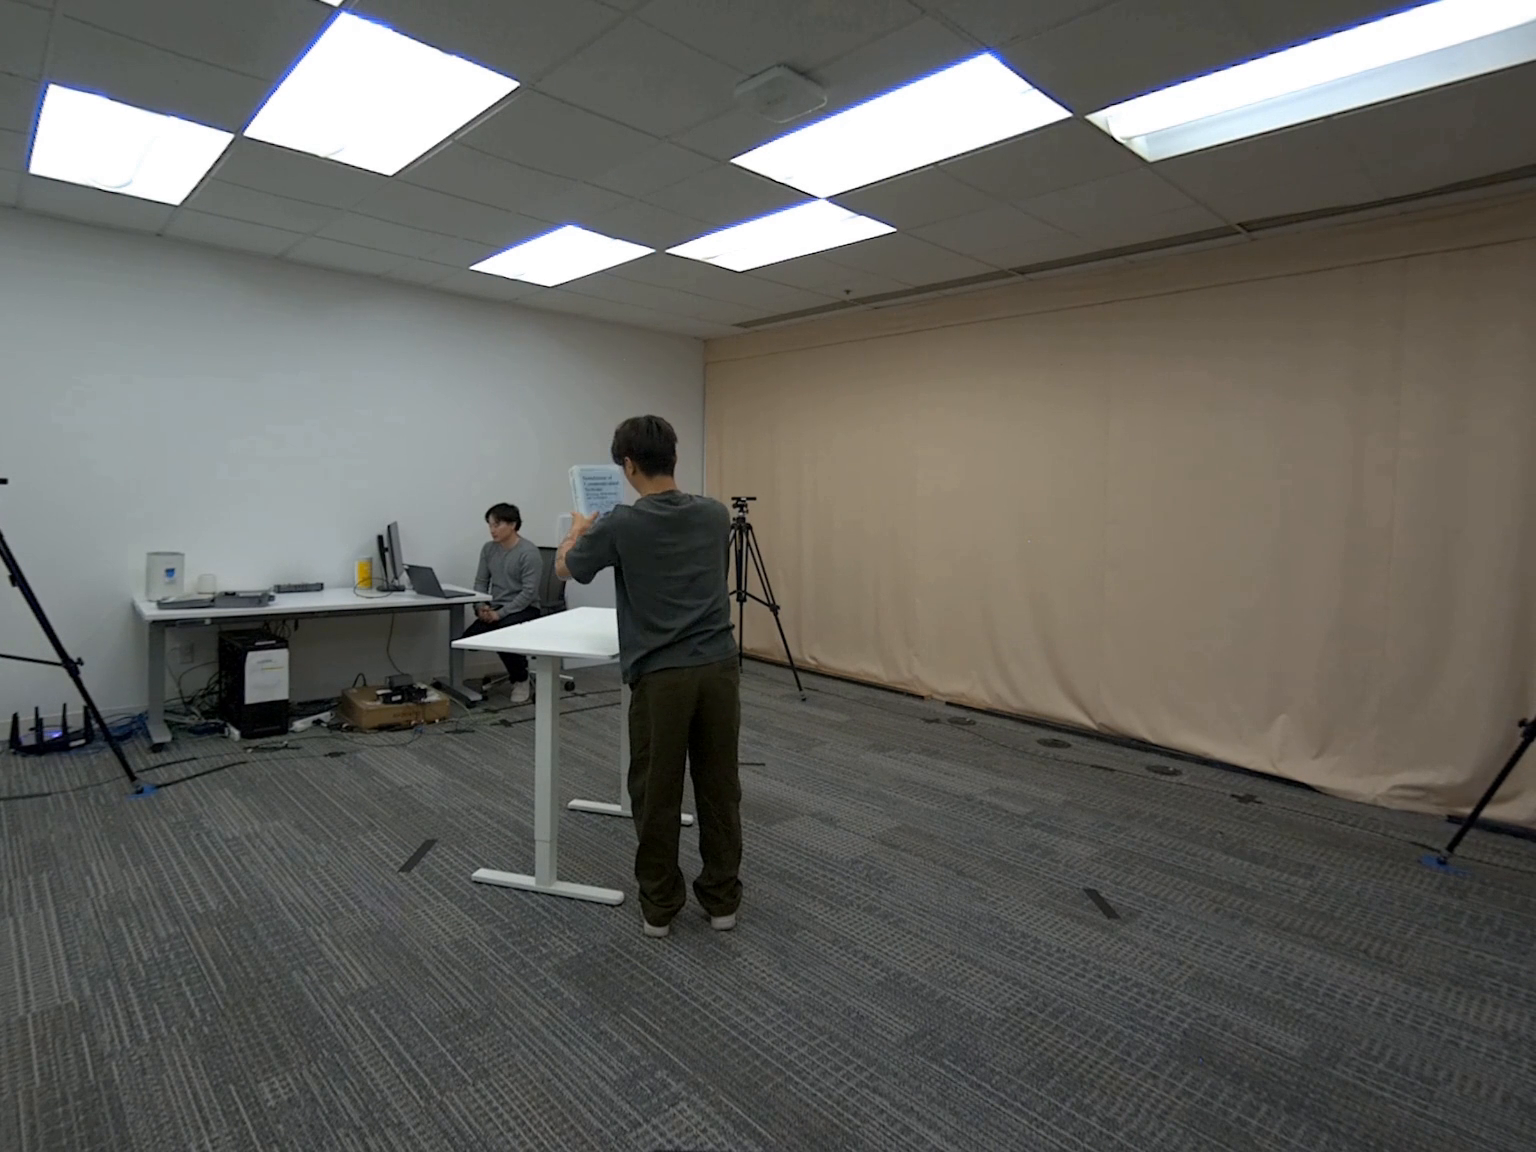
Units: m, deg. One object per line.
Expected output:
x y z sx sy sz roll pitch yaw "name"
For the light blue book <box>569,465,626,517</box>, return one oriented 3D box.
-0.618 -0.268 3.070 0.187 0.263 0.060 -5 -11 -39 "light blue book"
